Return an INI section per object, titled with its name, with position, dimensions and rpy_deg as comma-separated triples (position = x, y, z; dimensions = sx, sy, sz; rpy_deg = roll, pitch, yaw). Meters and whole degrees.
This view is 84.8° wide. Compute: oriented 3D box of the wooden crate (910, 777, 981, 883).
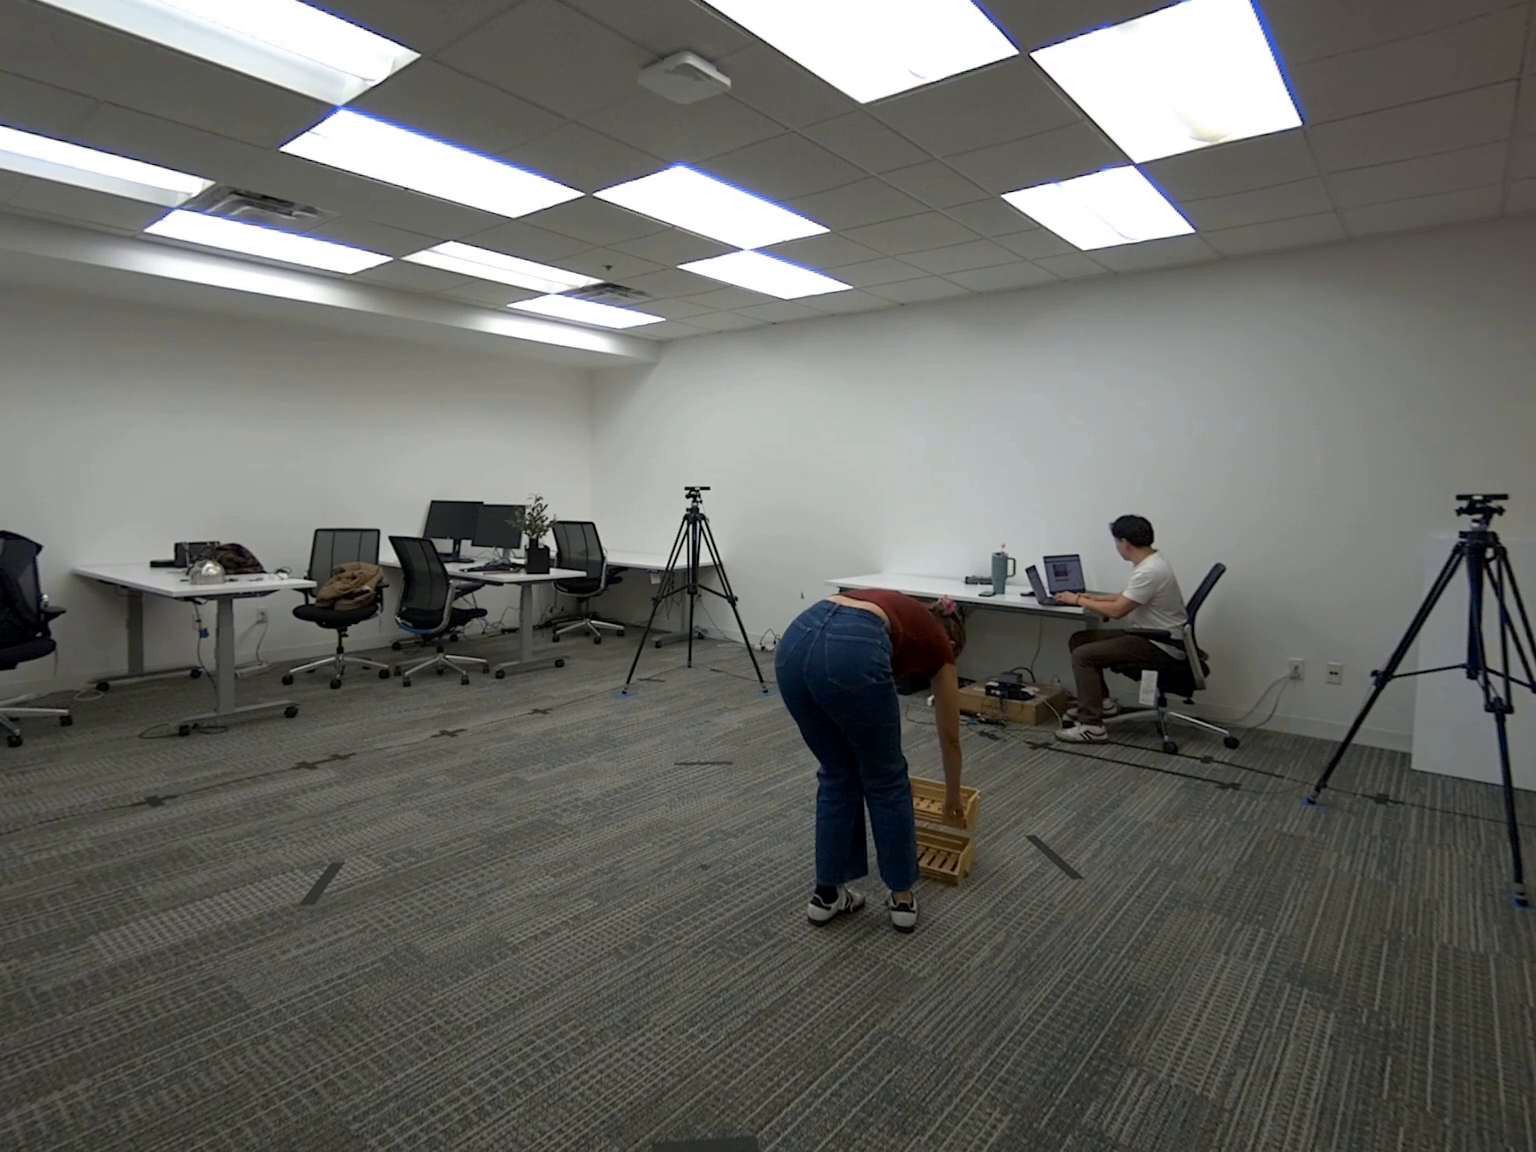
[wooden crate]
position = 0.592, 0.936, 3.188
dimensions = 0.334, 0.272, 0.295
rpy_deg = 4, 5, 28
